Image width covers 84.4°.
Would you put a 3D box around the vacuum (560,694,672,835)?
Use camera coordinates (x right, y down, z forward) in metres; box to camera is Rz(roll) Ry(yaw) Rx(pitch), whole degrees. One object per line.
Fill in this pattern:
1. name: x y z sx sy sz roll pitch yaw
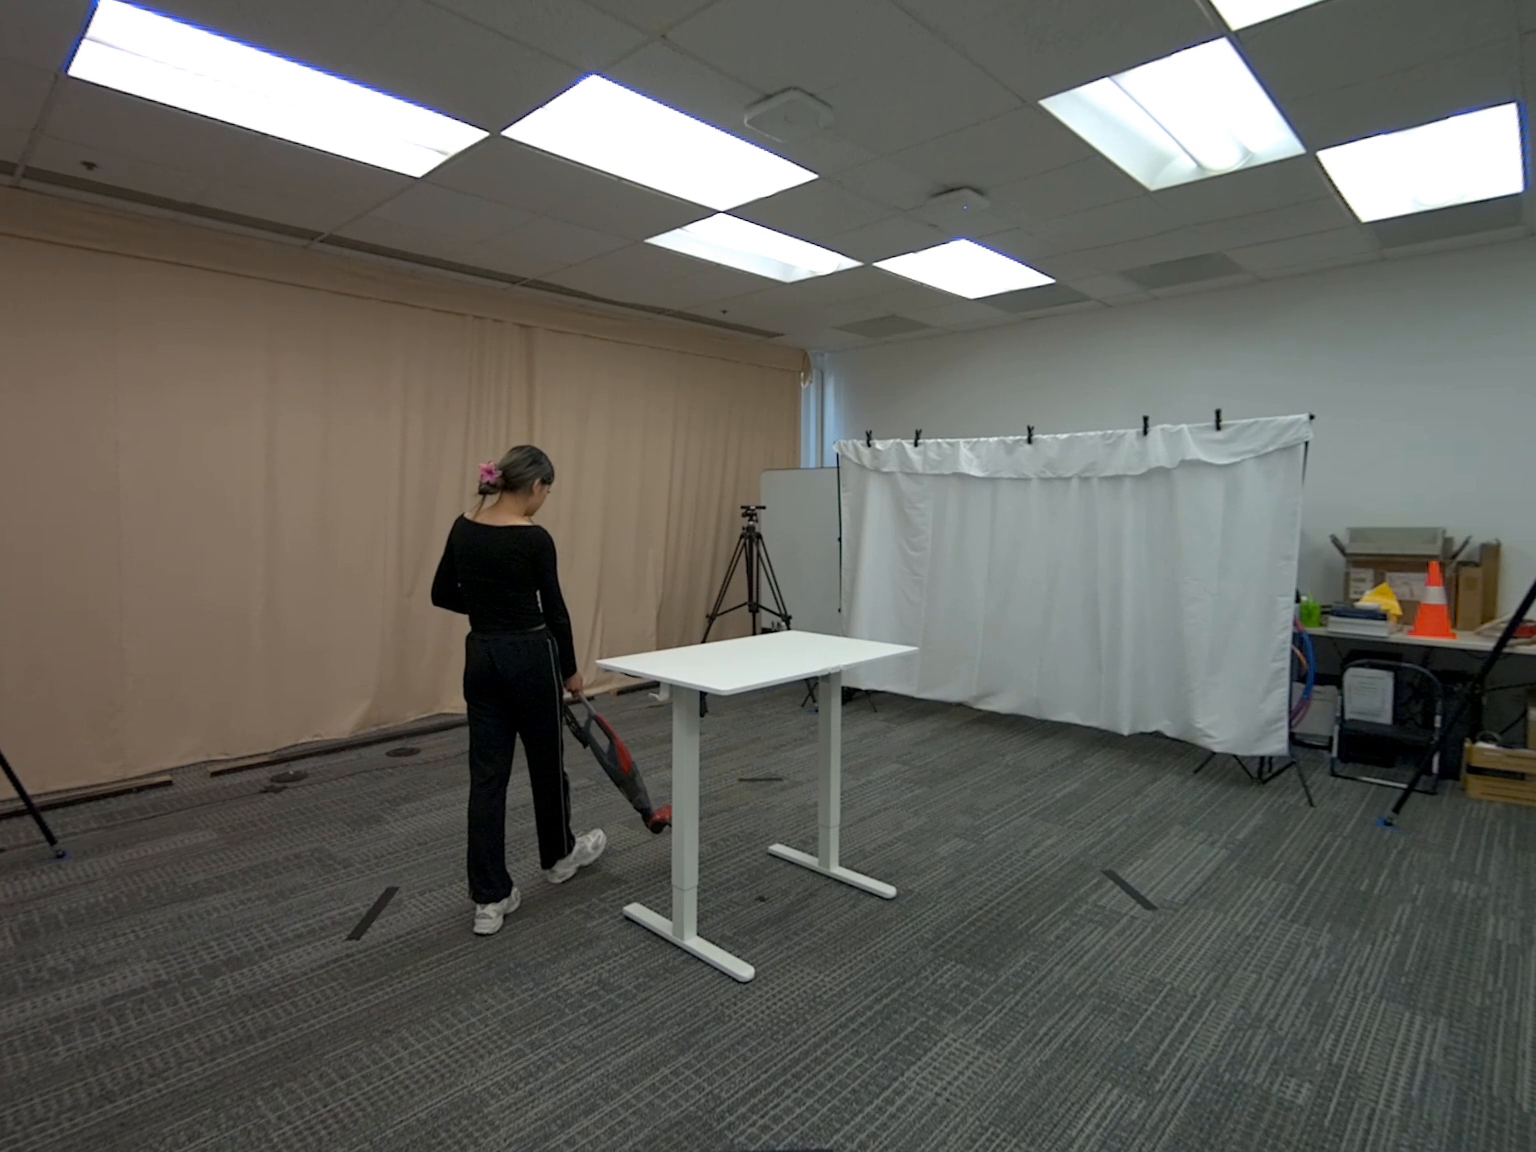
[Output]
1. vacuum: -0.675 0.555 3.137 0.143 1.033 0.259 -43 16 -28
